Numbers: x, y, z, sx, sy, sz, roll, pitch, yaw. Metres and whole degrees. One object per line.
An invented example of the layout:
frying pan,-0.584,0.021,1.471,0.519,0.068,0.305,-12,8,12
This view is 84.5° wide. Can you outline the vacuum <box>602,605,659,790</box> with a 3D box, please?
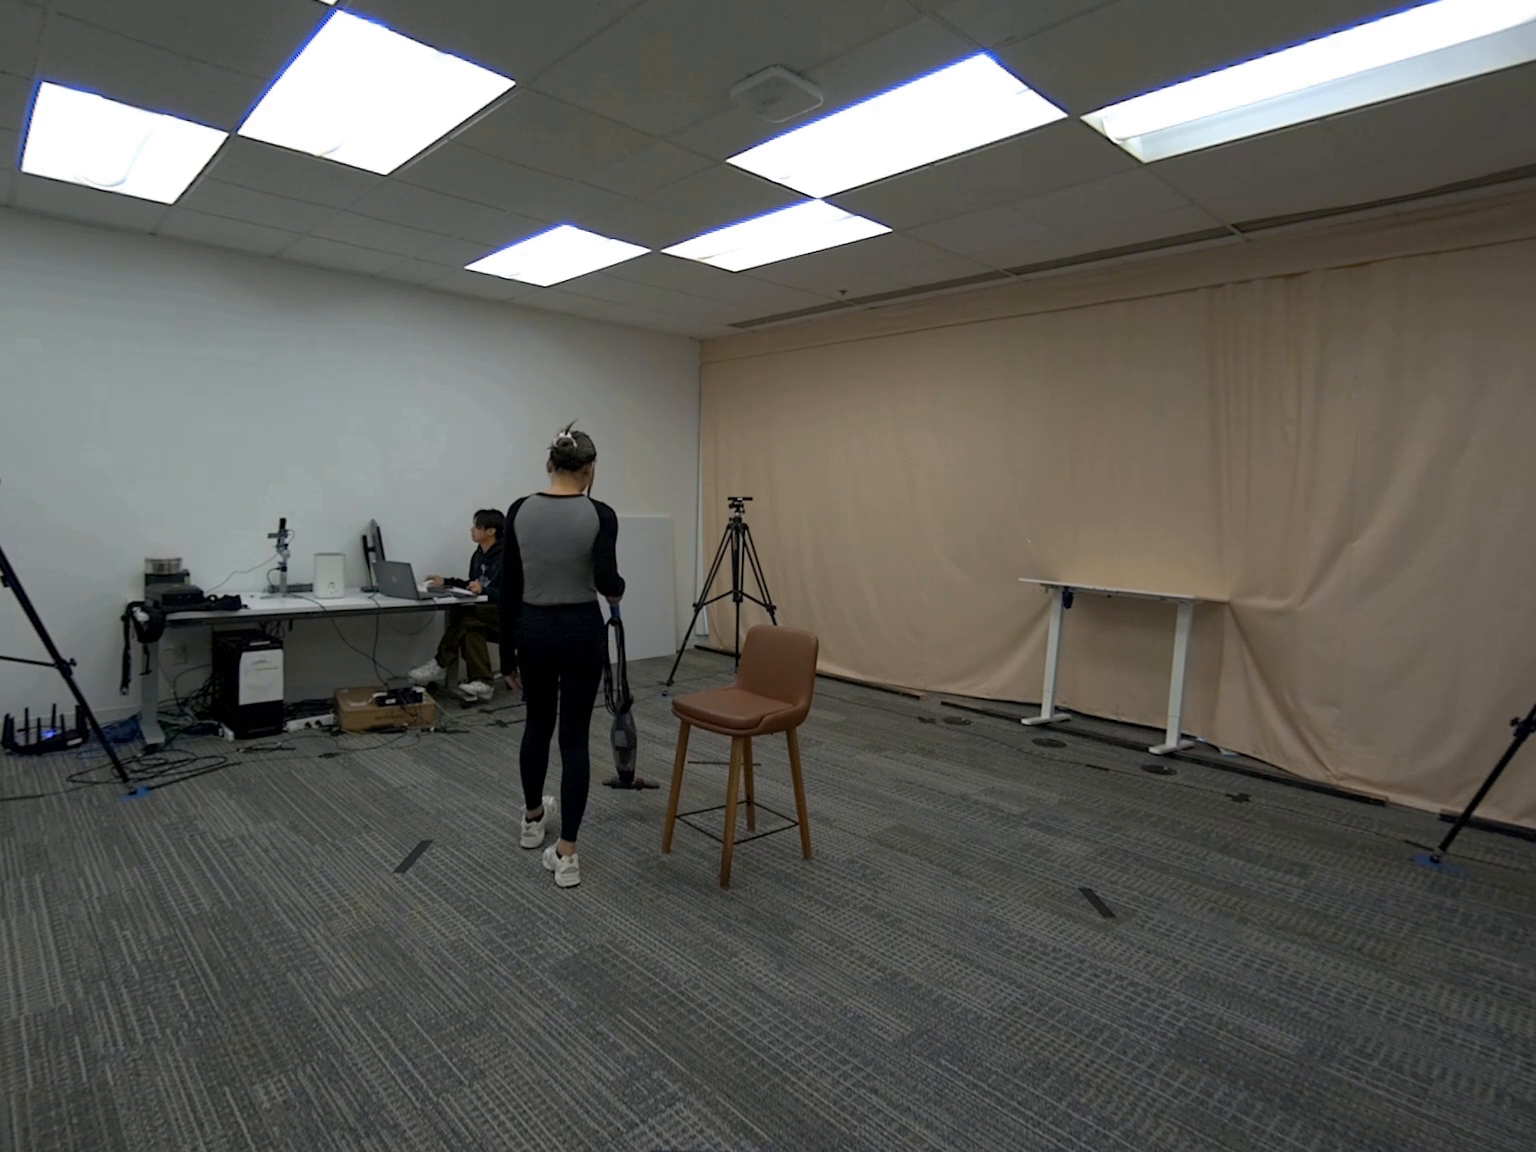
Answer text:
vacuum,-0.603,0.467,3.404,0.255,1.029,0.145,7,32,10
